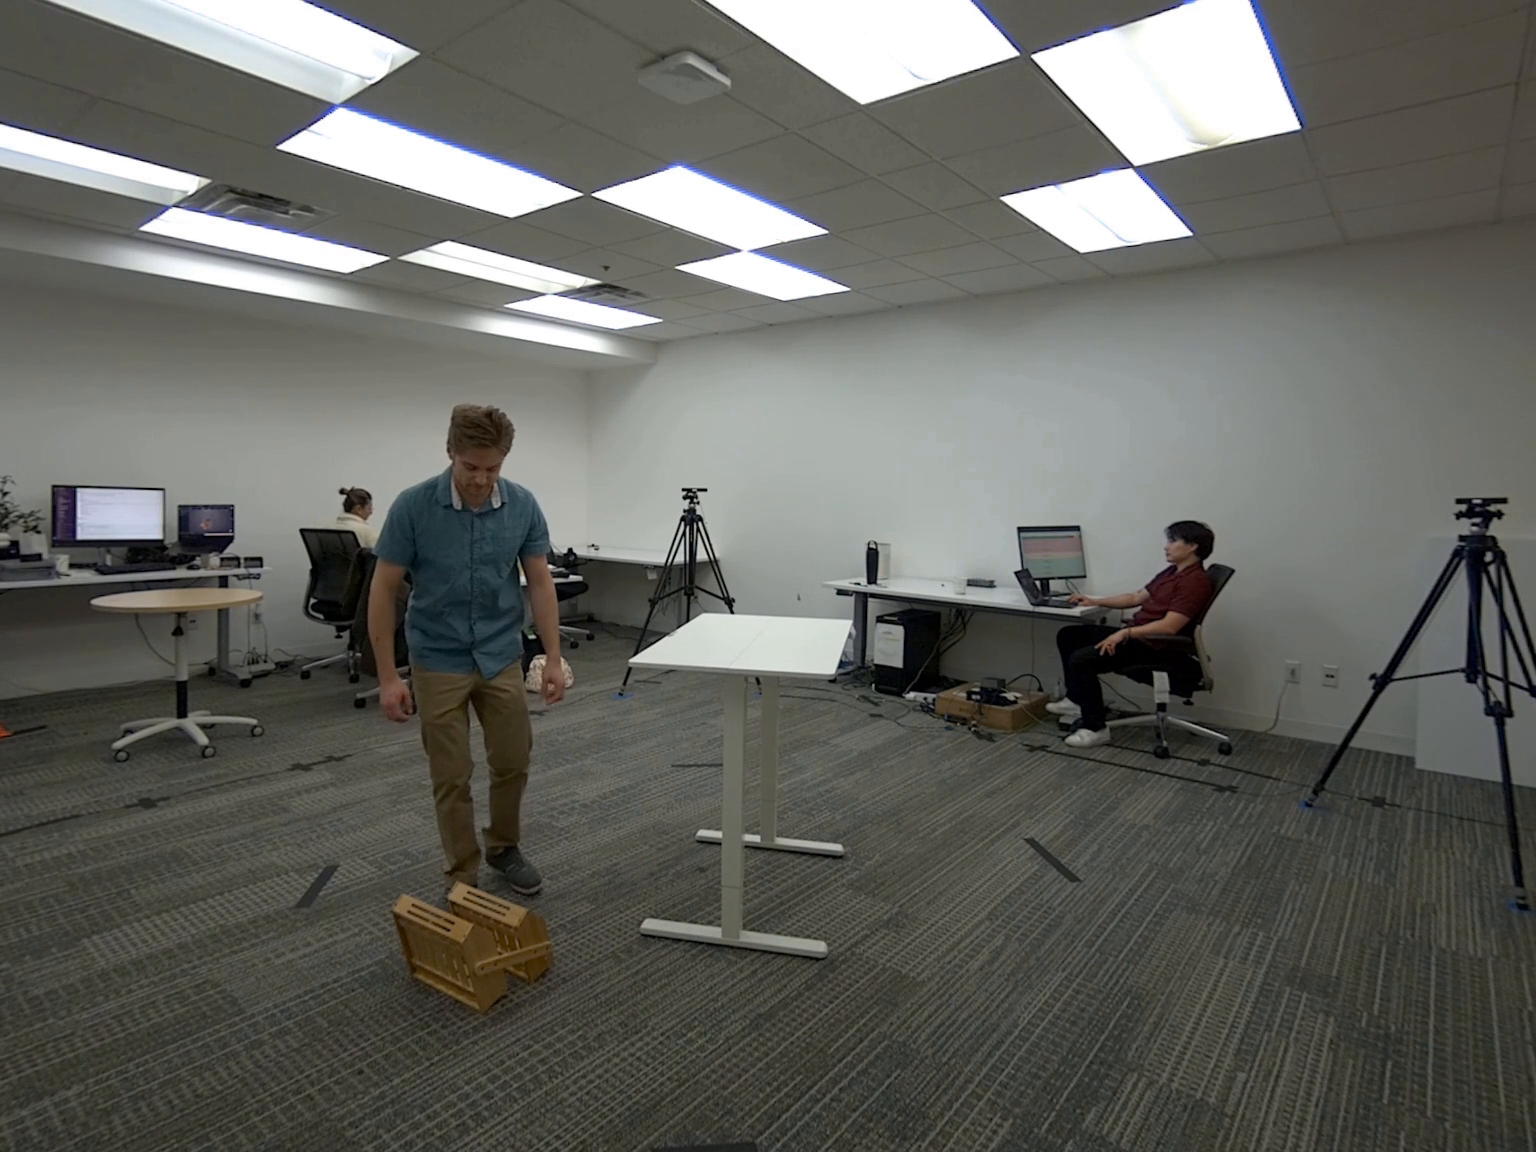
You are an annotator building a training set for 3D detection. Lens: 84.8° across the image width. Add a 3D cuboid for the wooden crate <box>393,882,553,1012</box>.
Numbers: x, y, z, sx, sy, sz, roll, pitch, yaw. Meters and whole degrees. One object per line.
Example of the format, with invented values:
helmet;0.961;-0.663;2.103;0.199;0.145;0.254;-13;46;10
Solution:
wooden crate;-0.836;0.997;2.397;0.334;0.296;0.270;2;21;30
